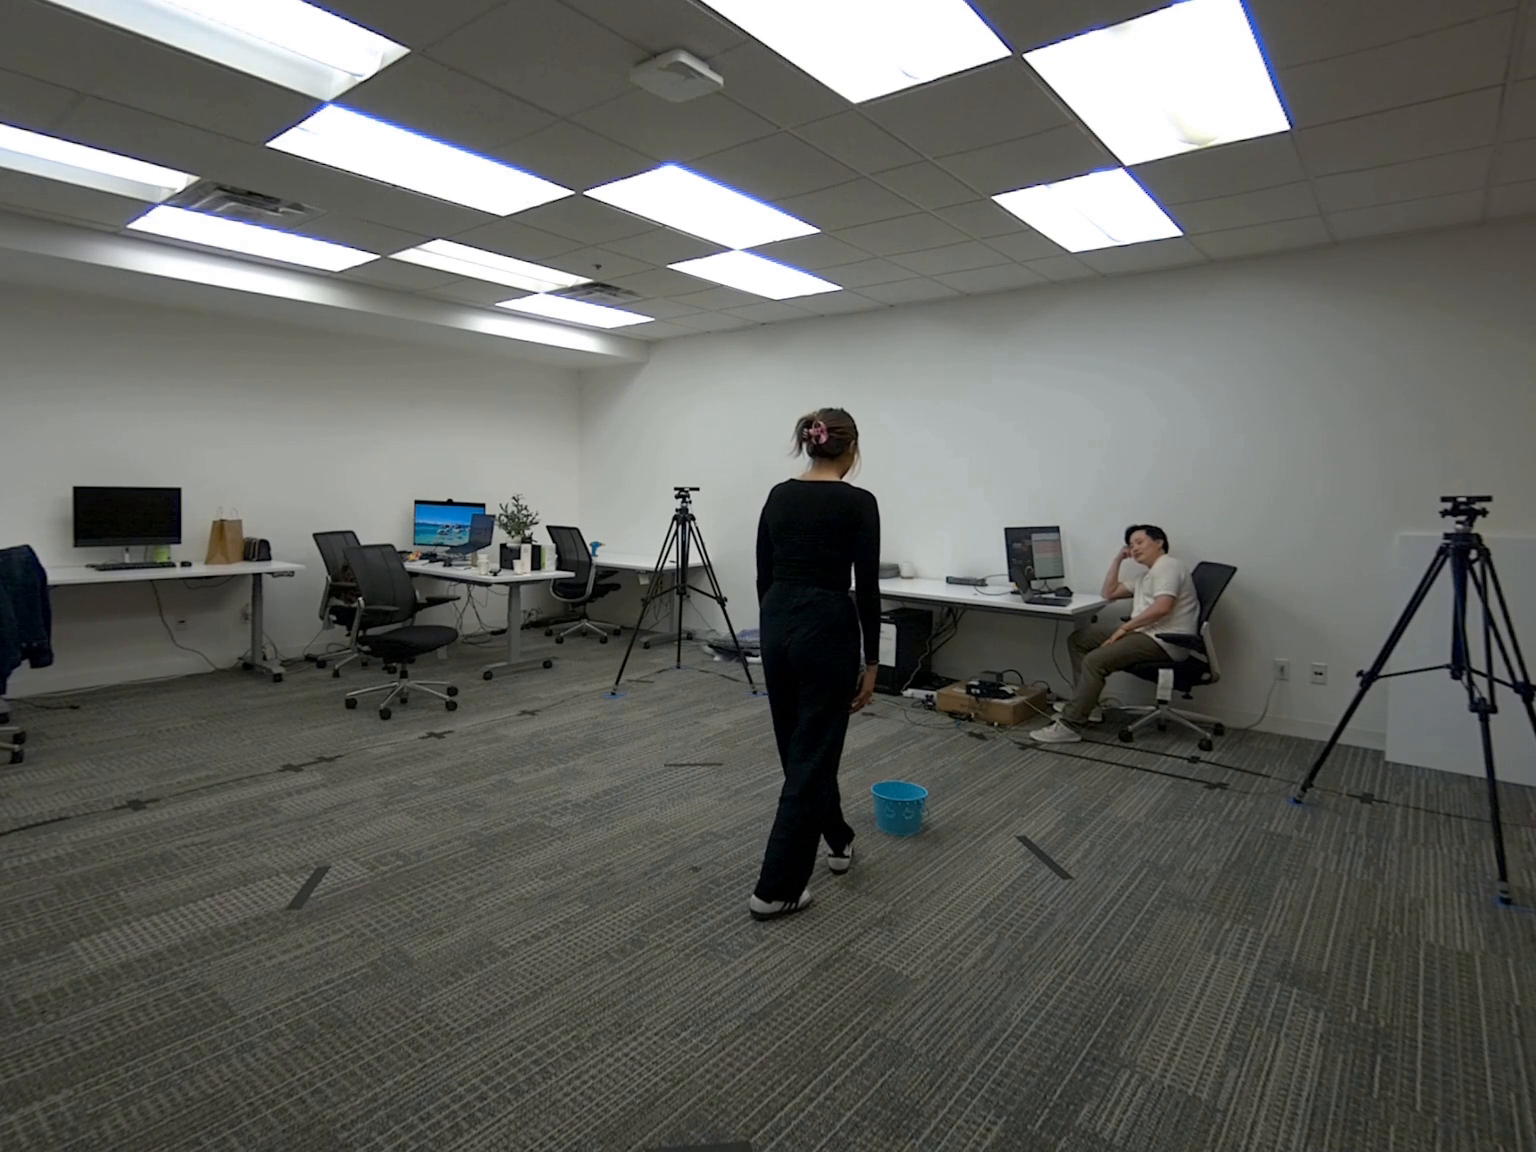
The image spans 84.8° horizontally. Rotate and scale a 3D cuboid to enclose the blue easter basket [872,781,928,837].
[{"bbox_3d":[0.544,0.960,3.540,0.243,0.155,0.245,0,5,-2],"label":"blue easter basket"}]
